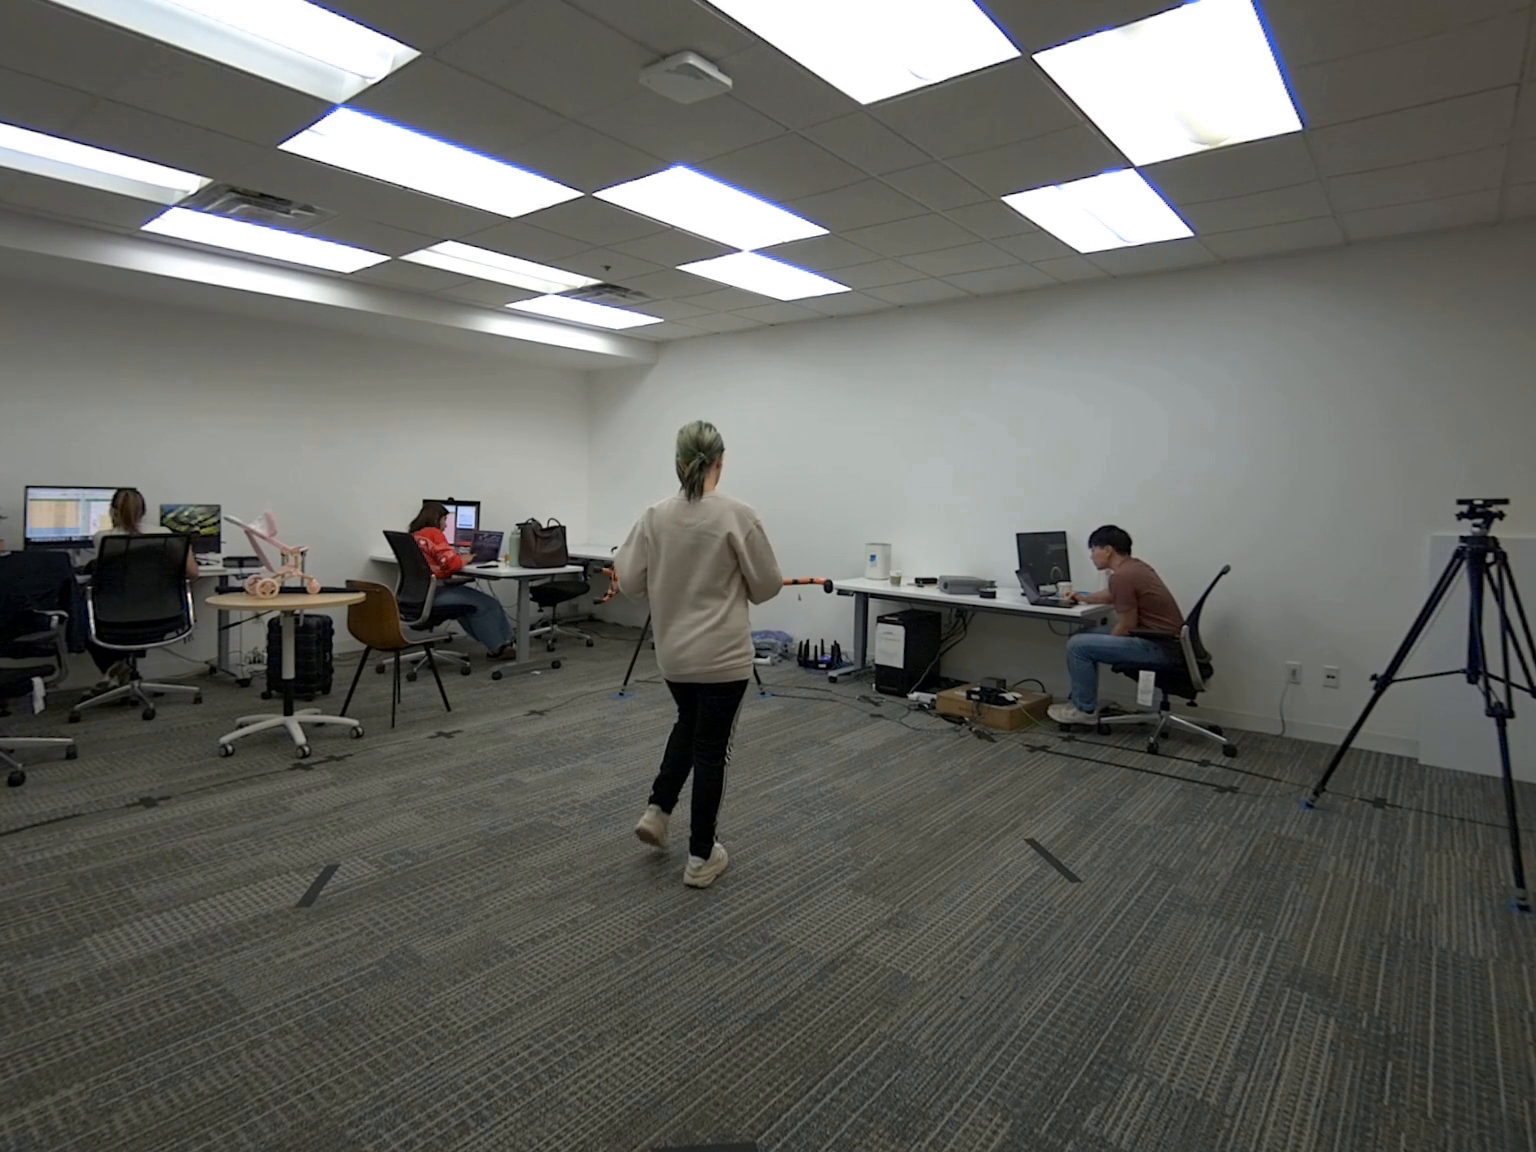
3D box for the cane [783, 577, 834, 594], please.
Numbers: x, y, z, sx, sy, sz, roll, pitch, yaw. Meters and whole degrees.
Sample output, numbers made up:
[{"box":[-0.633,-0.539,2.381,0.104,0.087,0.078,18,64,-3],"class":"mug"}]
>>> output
[{"box":[-0.220,0.032,3.309,0.913,0.151,0.206,0,5,6],"class":"cane"}]
